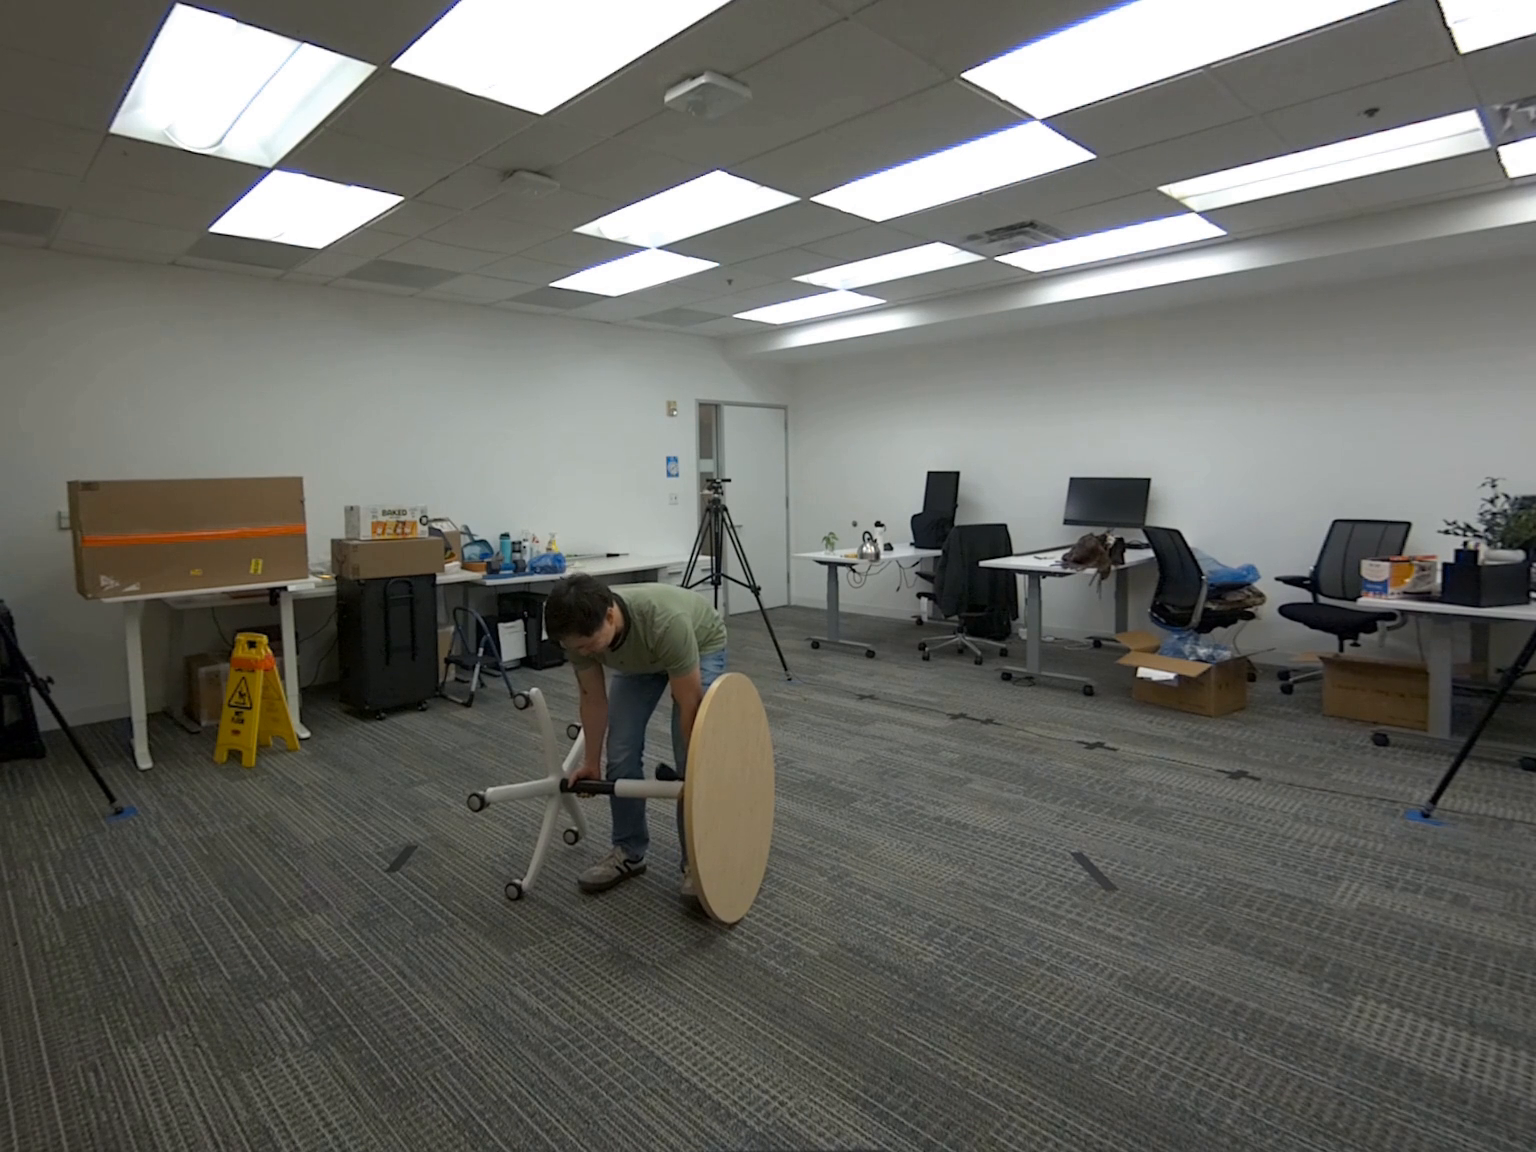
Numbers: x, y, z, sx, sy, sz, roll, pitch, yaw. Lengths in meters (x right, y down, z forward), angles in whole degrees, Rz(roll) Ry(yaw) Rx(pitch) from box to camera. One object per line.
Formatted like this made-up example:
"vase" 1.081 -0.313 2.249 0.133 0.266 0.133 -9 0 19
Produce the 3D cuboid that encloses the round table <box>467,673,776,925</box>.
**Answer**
"round table" -0.476 0.725 2.897 0.807 0.762 0.753 -4 3 19
